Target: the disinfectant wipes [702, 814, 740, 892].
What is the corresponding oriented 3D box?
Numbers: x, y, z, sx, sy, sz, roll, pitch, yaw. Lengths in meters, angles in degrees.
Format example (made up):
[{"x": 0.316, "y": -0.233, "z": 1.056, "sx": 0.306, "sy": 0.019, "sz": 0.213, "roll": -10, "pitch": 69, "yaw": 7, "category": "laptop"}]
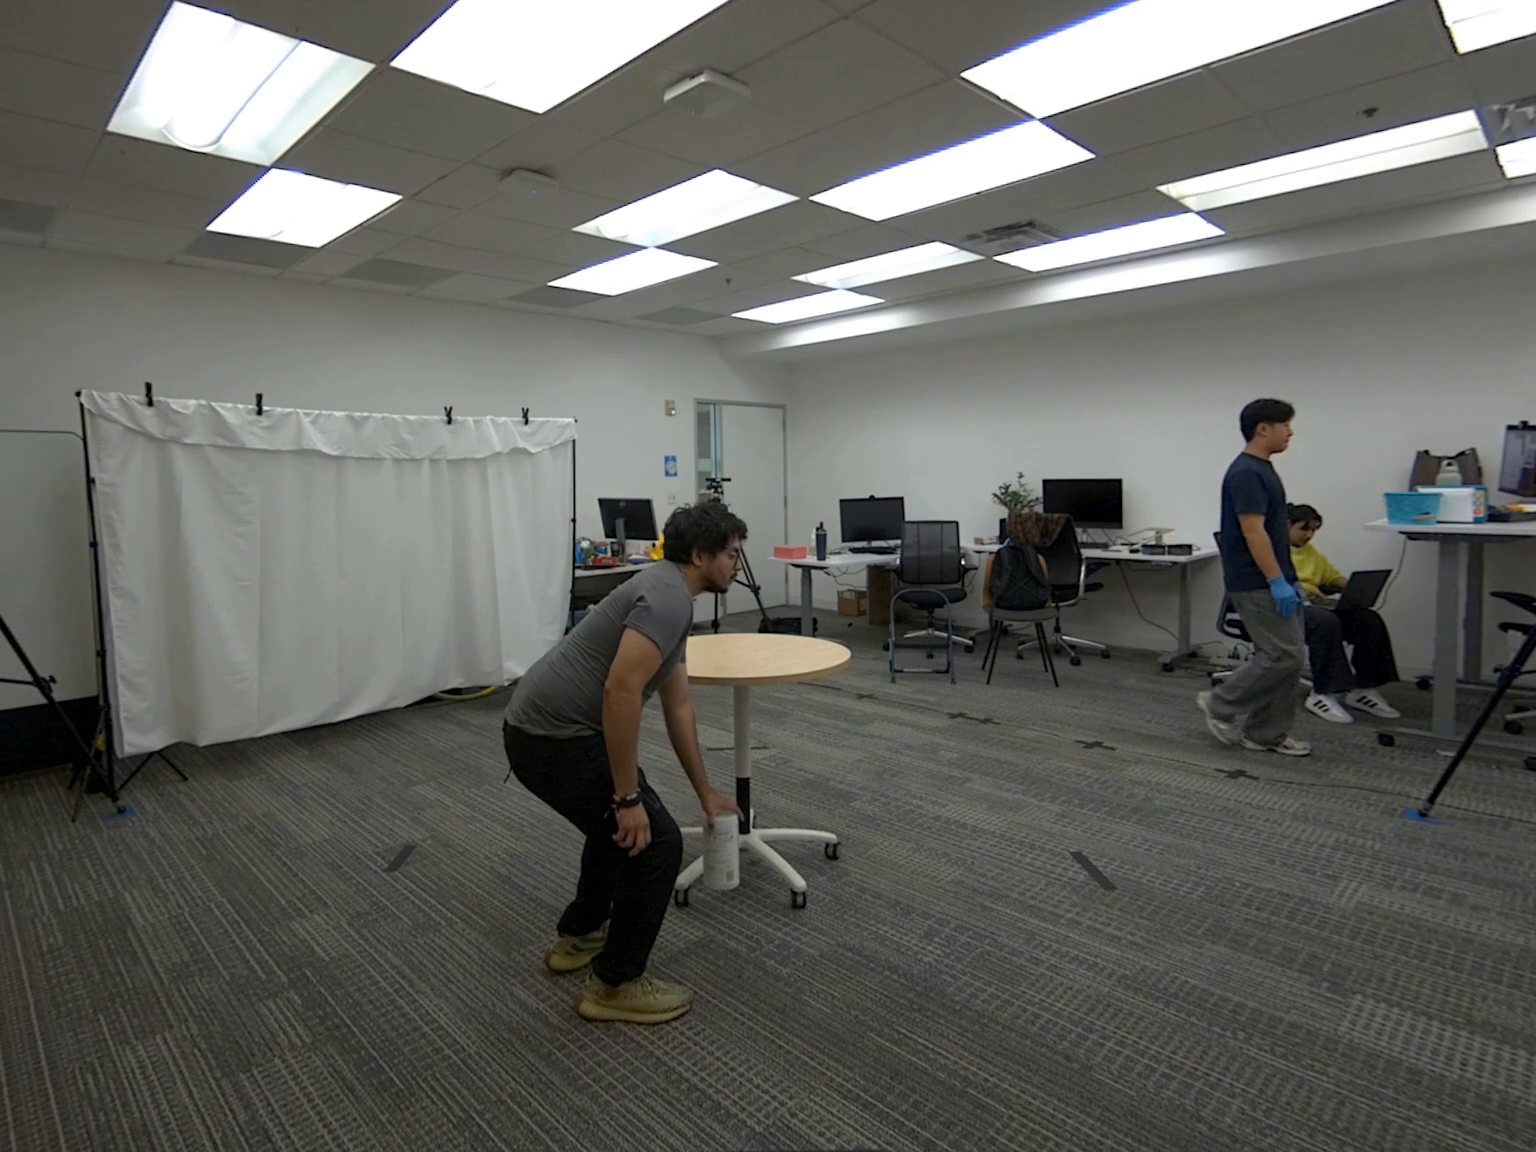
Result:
[{"x": -0.138, "y": 0.812, "z": 2.559, "sx": 0.118, "sy": 0.217, "sz": 0.118, "roll": -3, "pitch": 1, "yaw": -2, "category": "disinfectant wipes"}]
